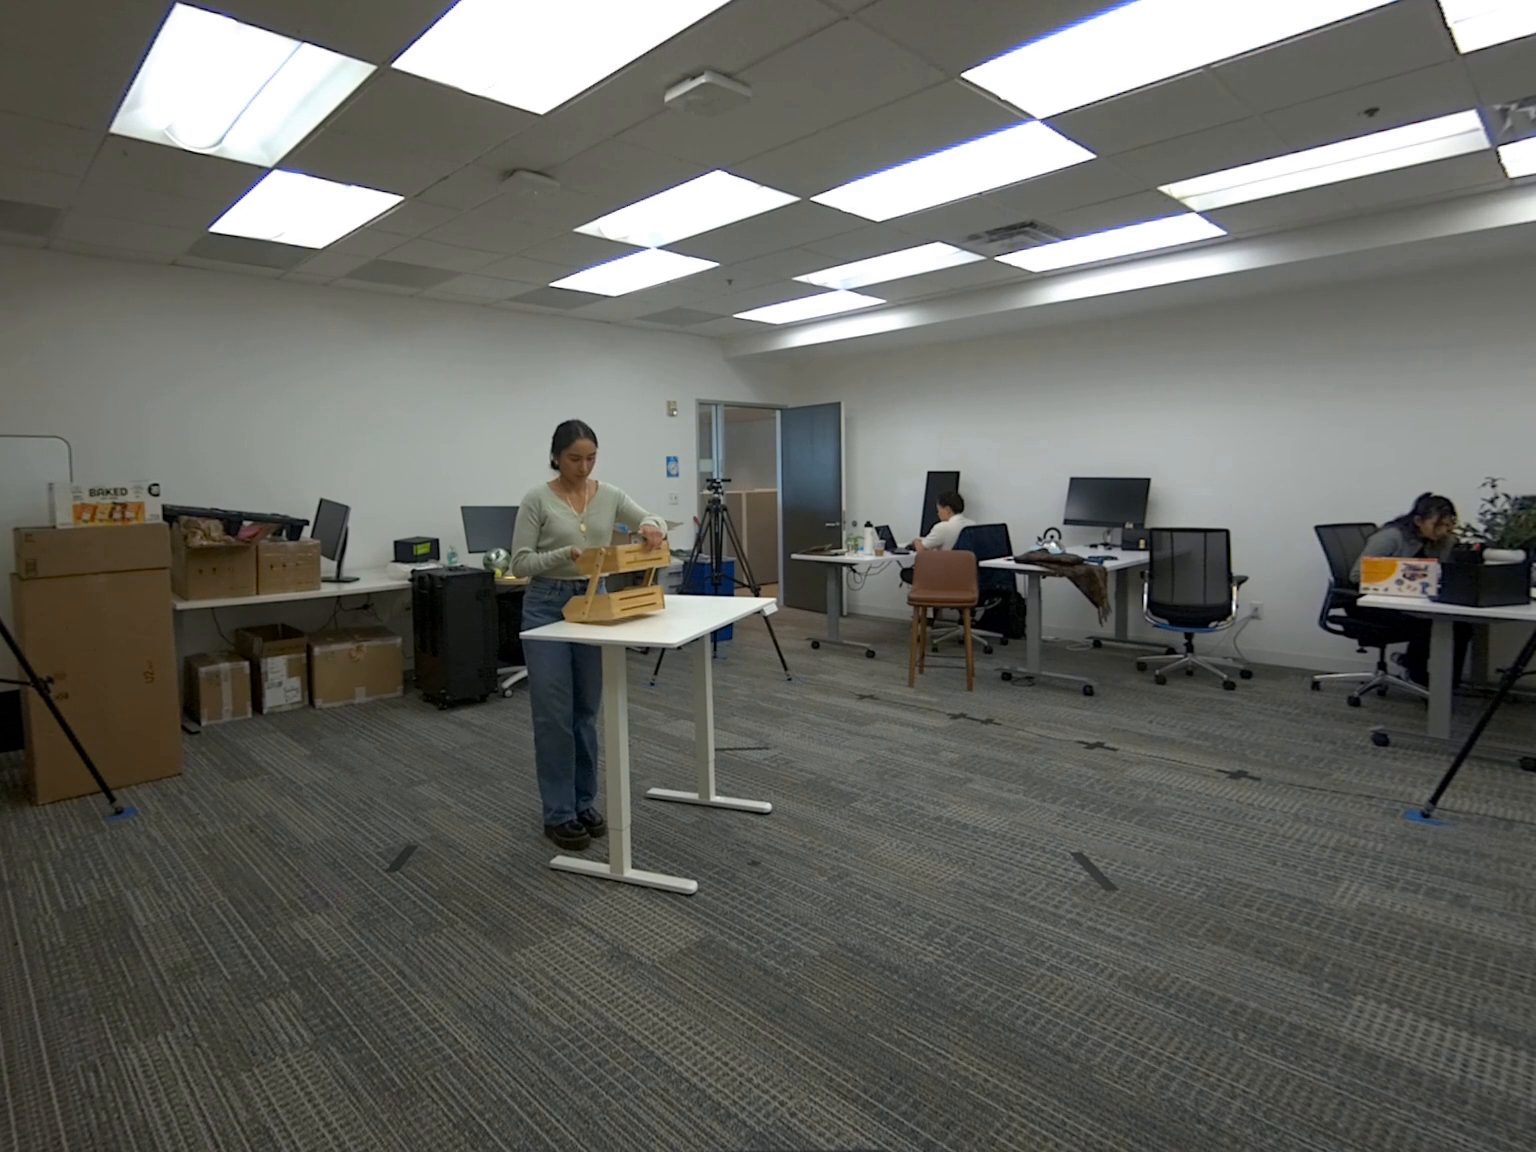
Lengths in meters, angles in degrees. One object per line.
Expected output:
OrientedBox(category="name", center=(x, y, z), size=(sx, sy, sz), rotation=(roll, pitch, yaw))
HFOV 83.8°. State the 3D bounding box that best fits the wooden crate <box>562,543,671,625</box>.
OrientedBox(category="wooden crate", center=(-0.572, 0.015, 3.207), size=(0.309, 0.273, 0.317), rotation=(-4, 3, 34))
